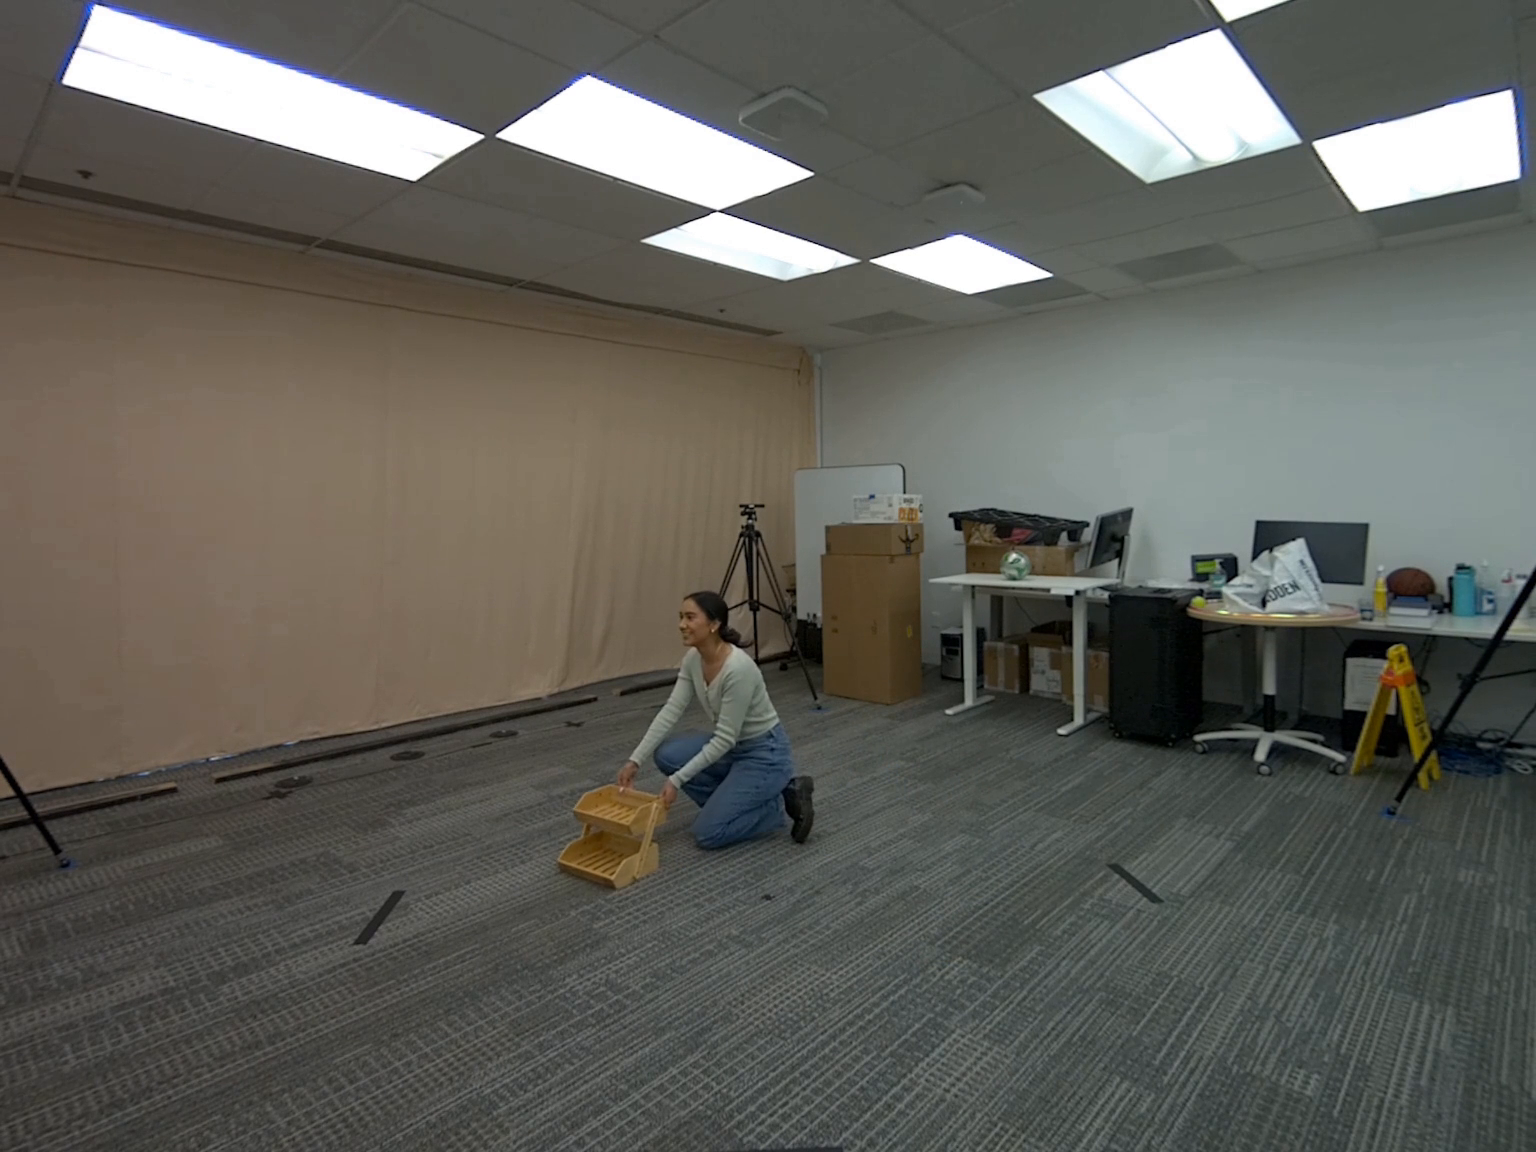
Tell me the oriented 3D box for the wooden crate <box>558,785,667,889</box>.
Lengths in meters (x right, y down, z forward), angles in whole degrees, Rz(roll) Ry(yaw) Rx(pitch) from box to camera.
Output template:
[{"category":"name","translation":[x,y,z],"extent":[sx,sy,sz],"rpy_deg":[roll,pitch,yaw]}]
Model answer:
[{"category":"wooden crate","translation":[-0.603,0.999,3.254],"extent":[0.334,0.273,0.293],"rpy_deg":[2,4,35]}]
